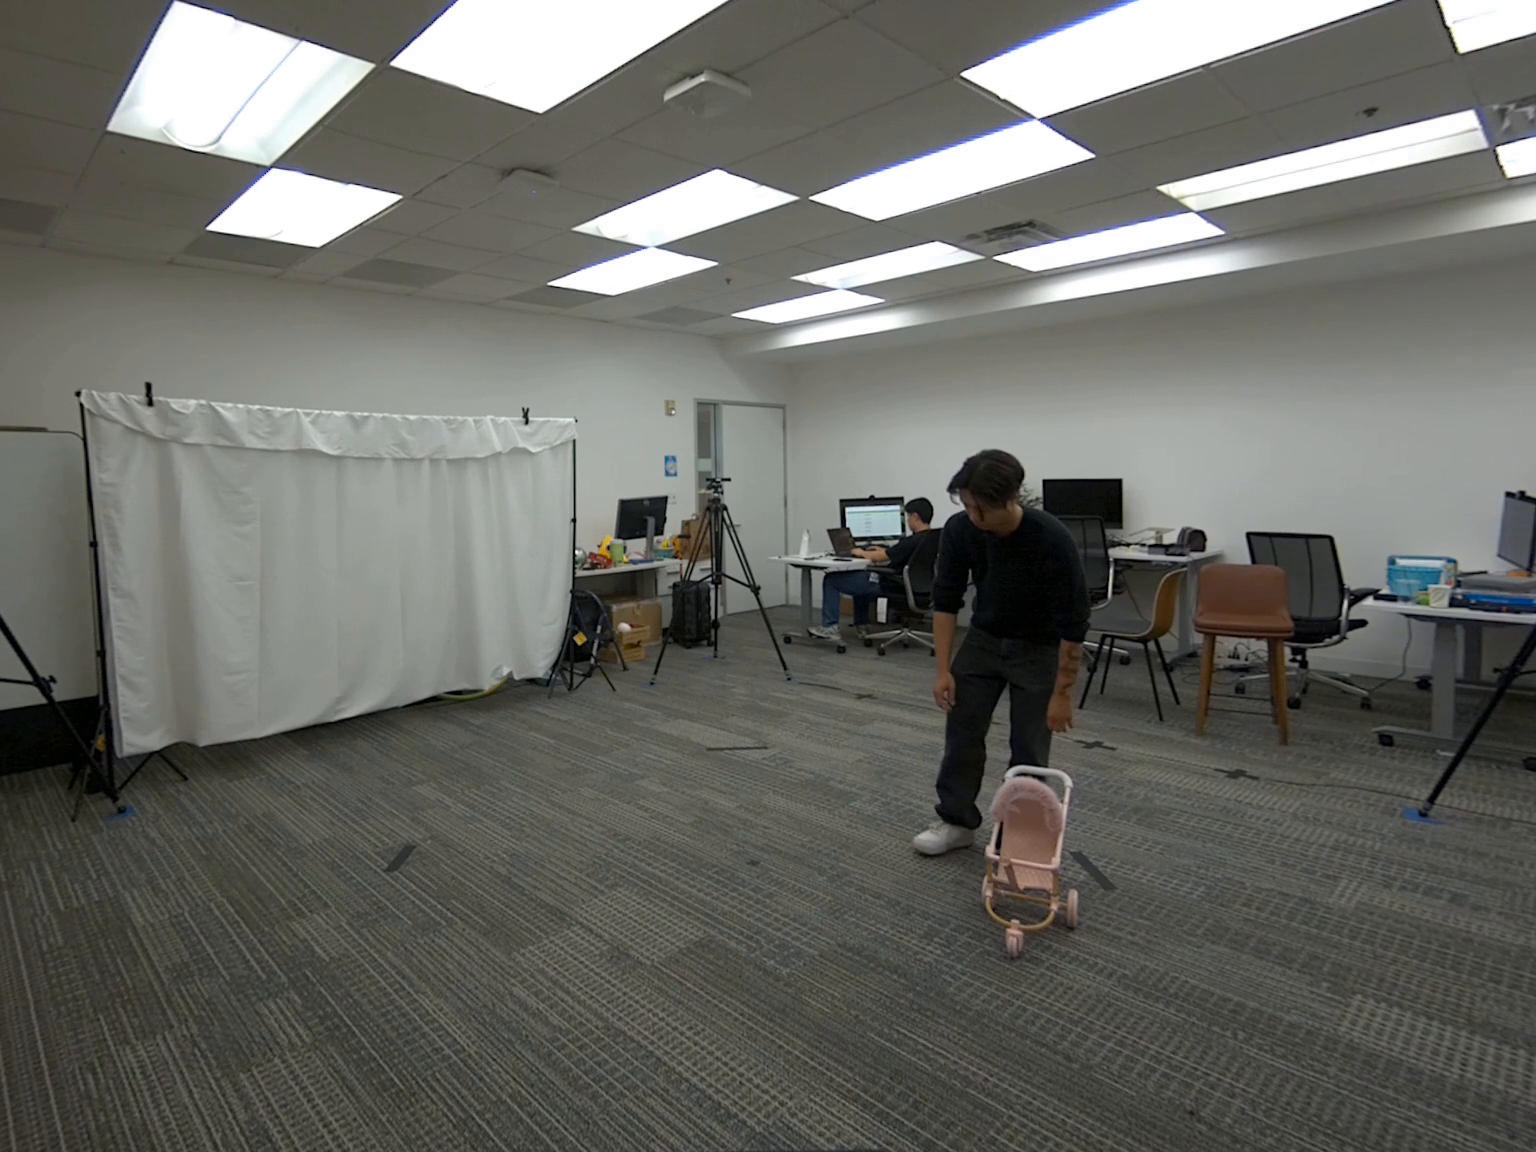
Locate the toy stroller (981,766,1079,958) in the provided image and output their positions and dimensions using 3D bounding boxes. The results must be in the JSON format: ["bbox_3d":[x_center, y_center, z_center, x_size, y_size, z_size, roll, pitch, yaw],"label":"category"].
[{"bbox_3d":[0.797,0.862,2.625,0.289,0.539,0.330,2,-11,32],"label":"toy stroller"}]
